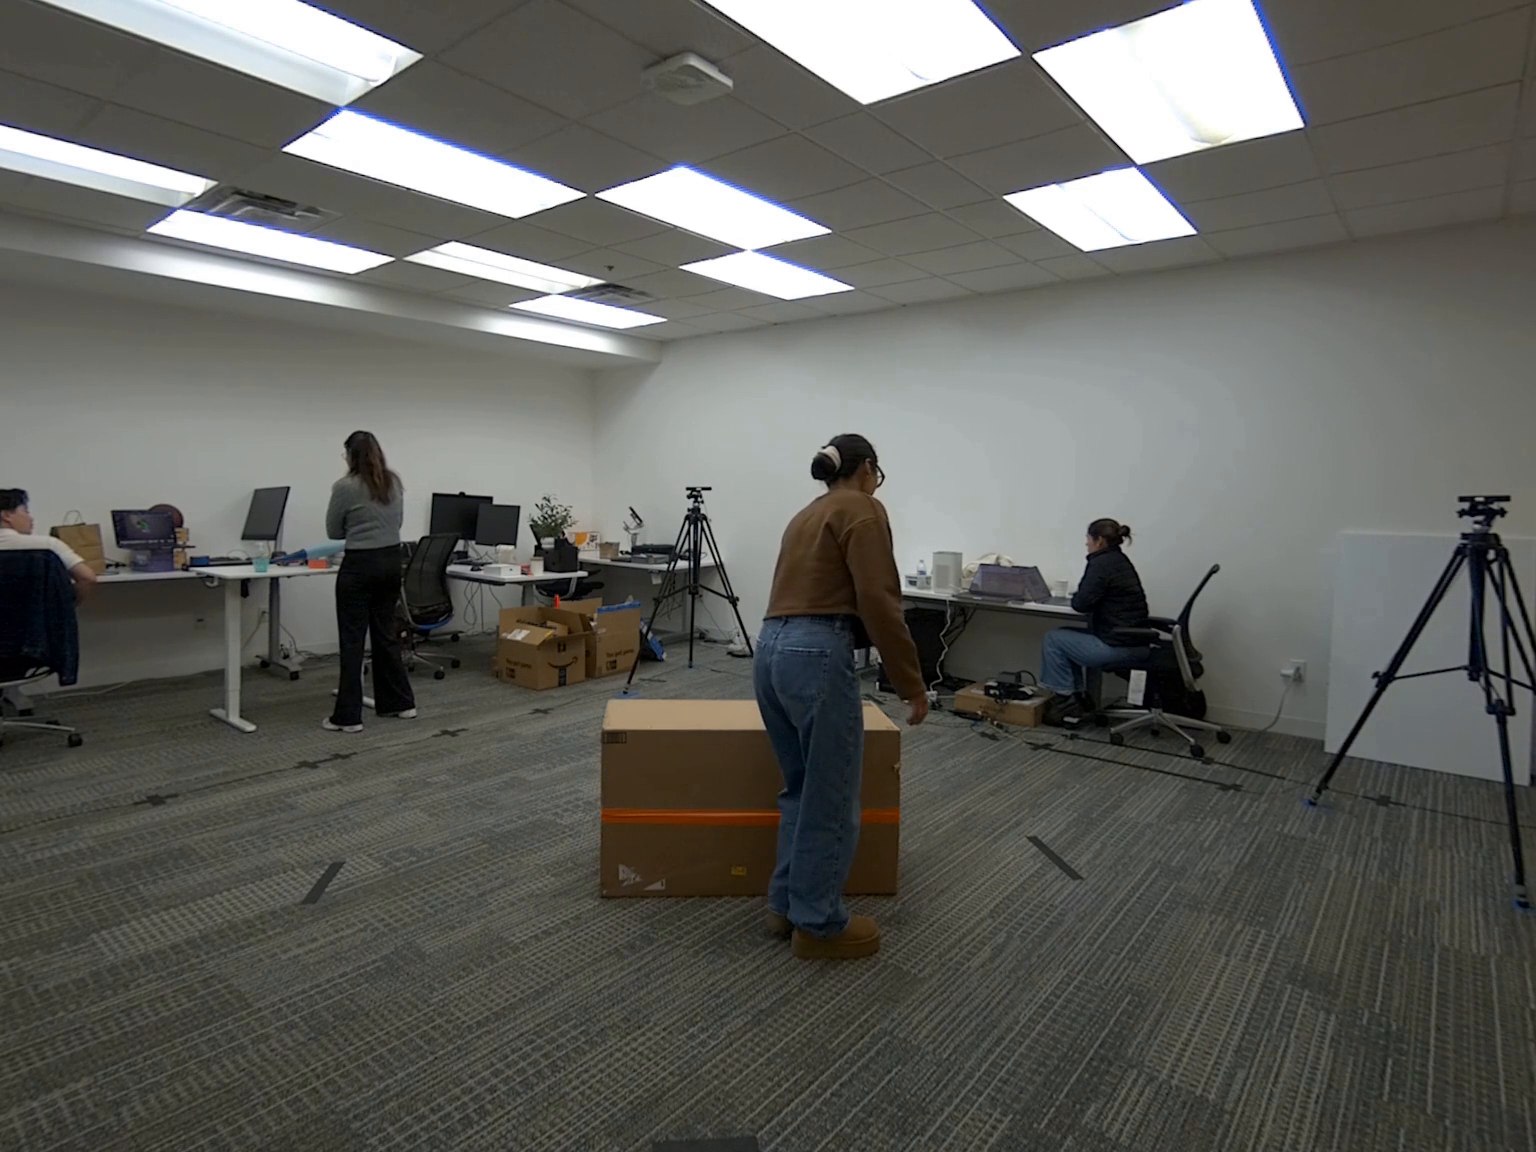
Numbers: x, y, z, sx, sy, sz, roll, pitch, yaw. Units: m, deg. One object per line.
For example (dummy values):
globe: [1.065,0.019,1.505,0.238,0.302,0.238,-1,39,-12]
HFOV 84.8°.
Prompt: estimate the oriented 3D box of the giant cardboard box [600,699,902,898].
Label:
giant cardboard box: [-0.088,0.783,3.089,1.023,0.583,0.450,0,3,-4]
